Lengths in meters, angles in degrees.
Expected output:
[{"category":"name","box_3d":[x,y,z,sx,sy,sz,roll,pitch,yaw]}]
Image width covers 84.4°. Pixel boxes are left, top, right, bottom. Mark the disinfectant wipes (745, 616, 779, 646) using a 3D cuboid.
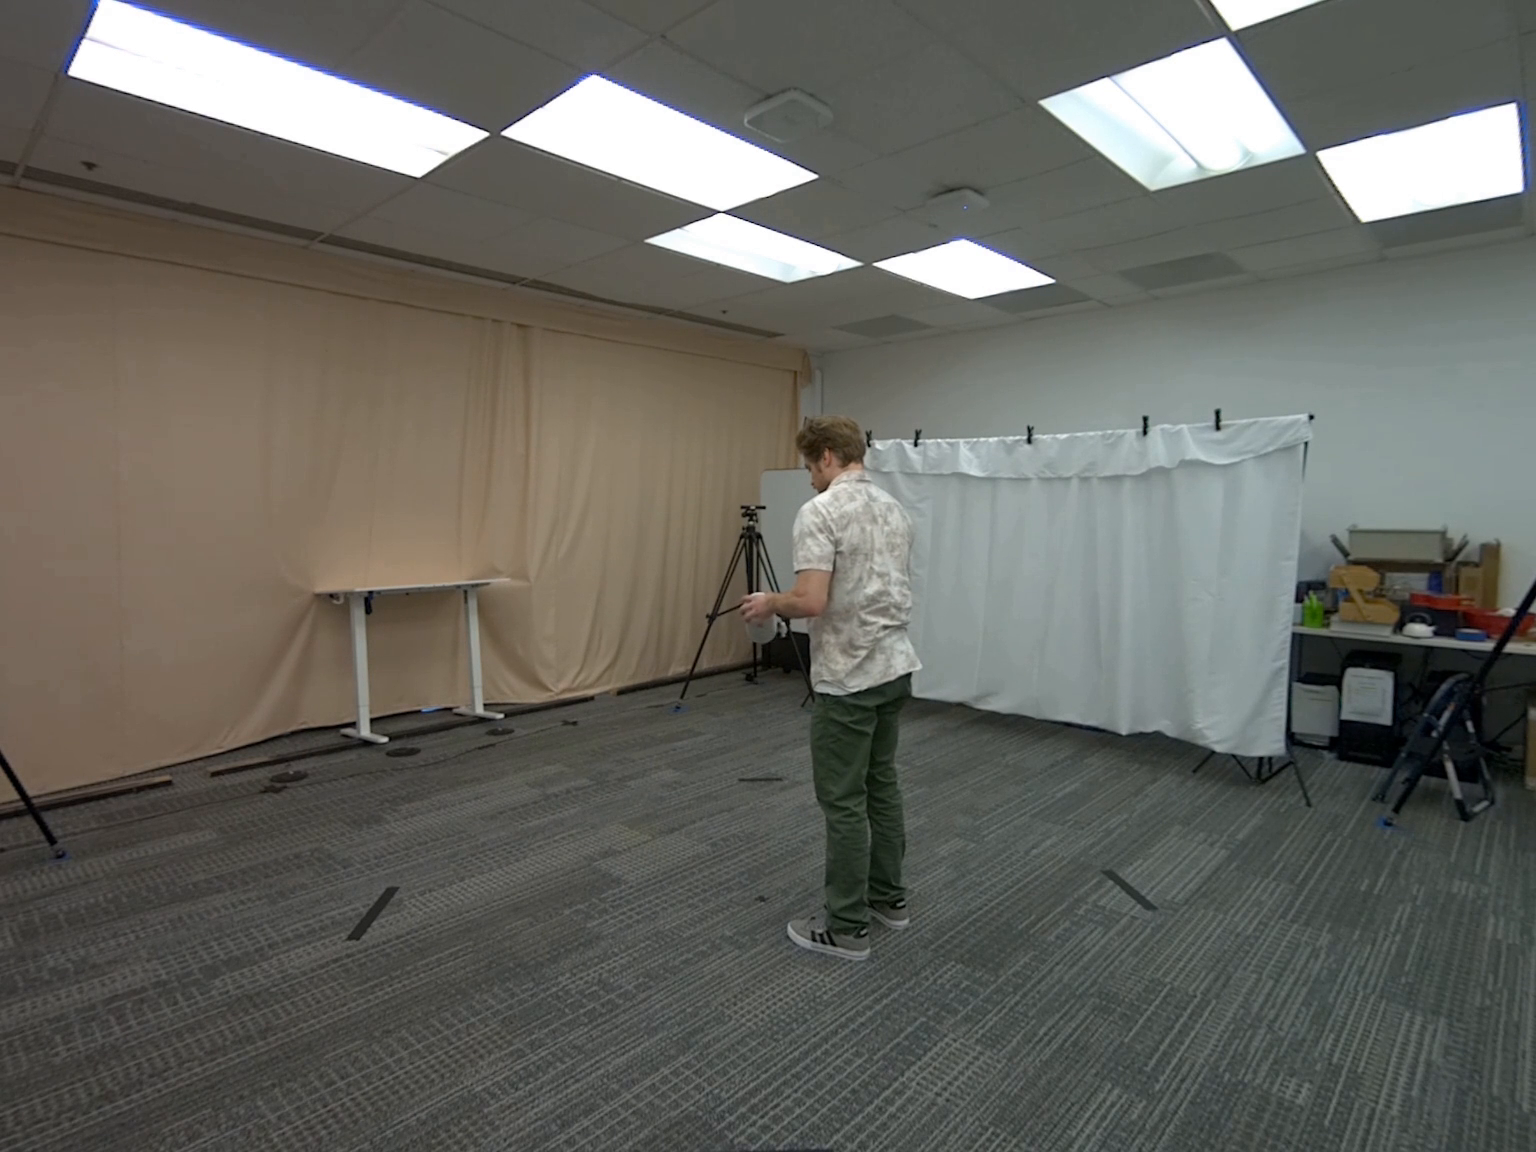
[{"category":"disinfectant wipes","box_3d":[-0.025,0.151,2.935,0.119,0.119,0.213,1,-26,5]}]
